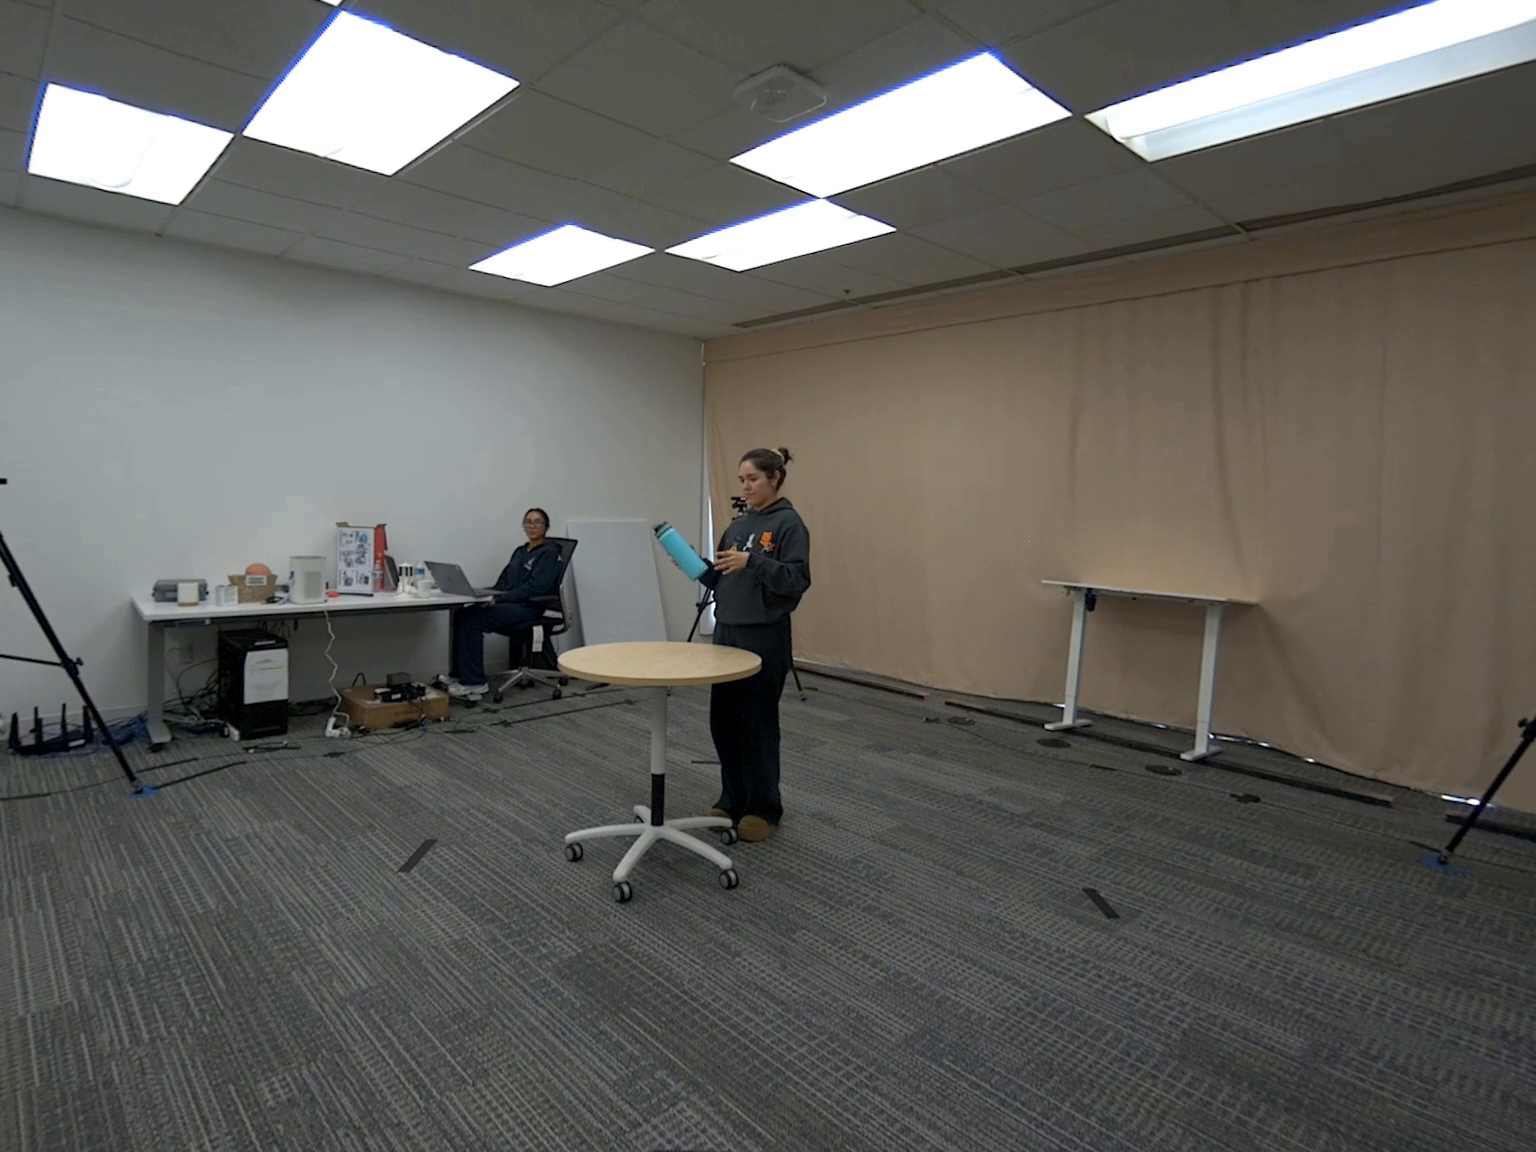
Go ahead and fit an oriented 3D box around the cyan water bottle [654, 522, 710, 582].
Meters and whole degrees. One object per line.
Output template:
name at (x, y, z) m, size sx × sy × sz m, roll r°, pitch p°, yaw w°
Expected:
cyan water bottle at (-0.370, -0.117, 3.501) m, size 0.092 × 0.285 × 0.092 m, roll -40°, pitch -4°, yaw -4°
